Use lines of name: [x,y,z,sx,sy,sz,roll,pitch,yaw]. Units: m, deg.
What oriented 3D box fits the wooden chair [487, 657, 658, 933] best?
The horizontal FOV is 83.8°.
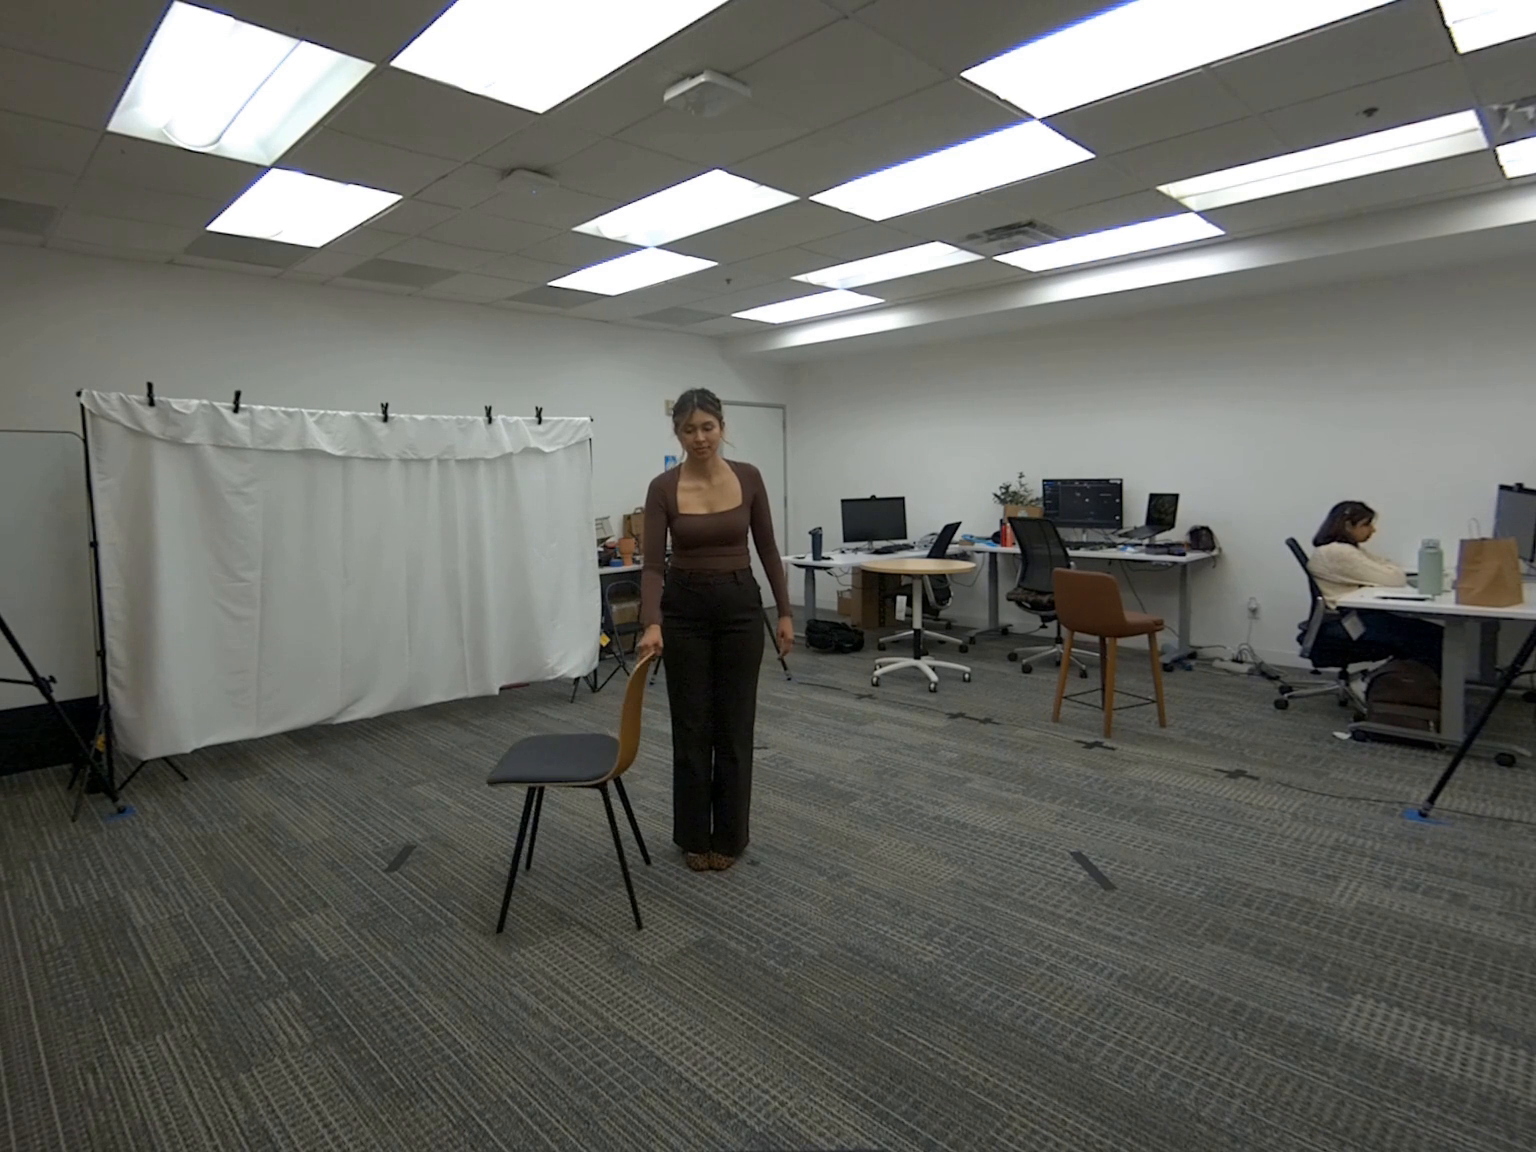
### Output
wooden chair: [-0.640,0.657,2.845,0.522,0.874,0.481,2,5,-3]
